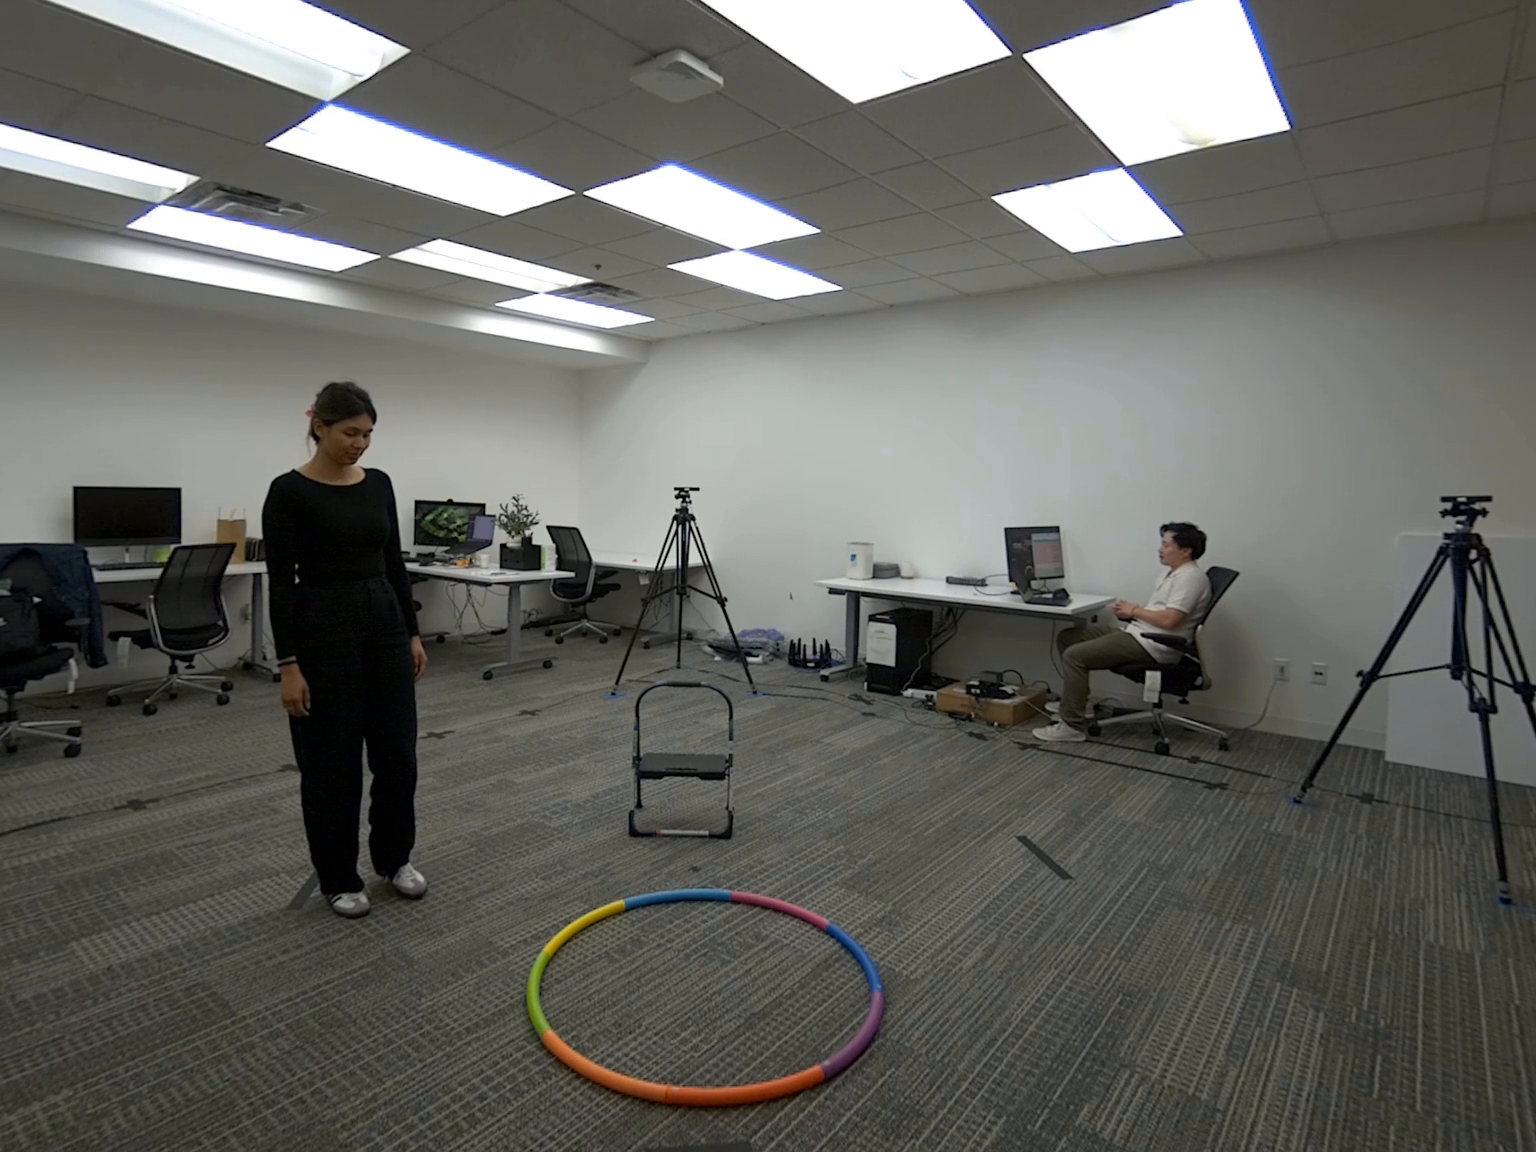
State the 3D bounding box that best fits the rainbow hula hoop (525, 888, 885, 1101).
[{"bbox_3d":[-0.182,1.100,2.406,0.978,0.035,0.984,1,6,-2],"label":"rainbow hula hoop"}]
